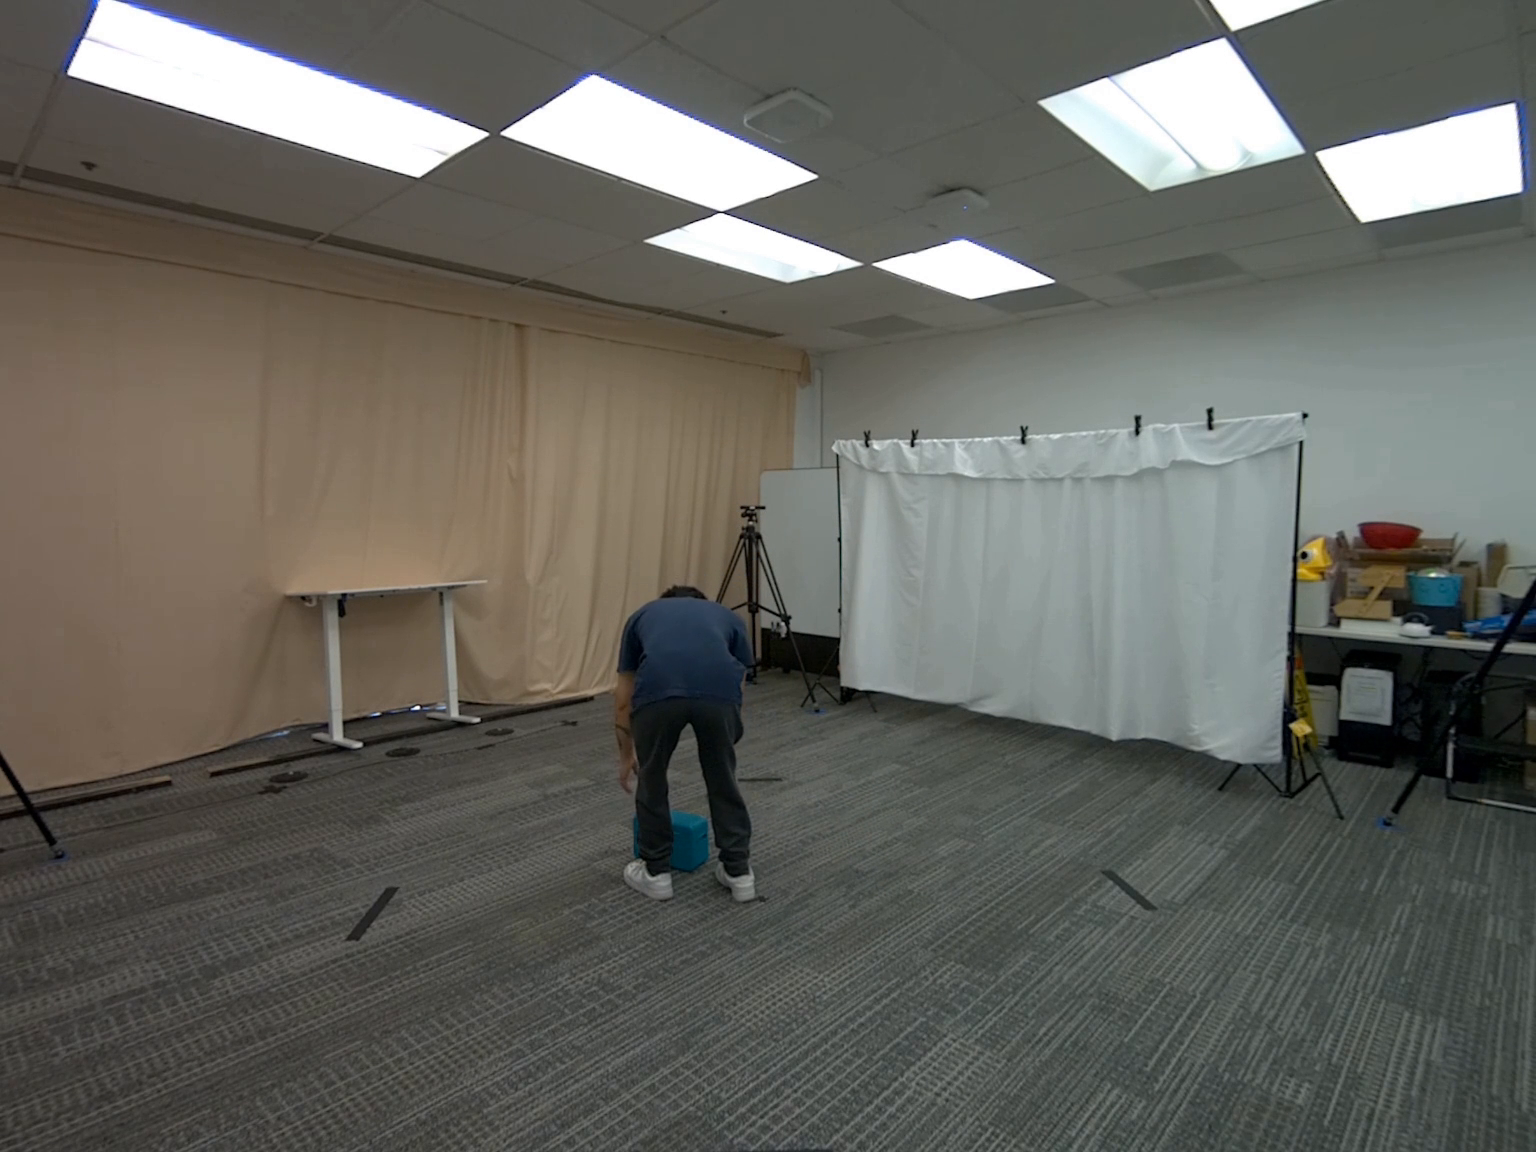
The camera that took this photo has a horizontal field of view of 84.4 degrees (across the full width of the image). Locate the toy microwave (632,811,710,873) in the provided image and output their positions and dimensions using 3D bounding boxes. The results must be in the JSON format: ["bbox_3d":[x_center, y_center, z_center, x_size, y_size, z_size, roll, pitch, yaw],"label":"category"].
[{"bbox_3d":[-0.376,1.028,3.308,0.294,0.184,0.148,1,4,29],"label":"toy microwave"}]
